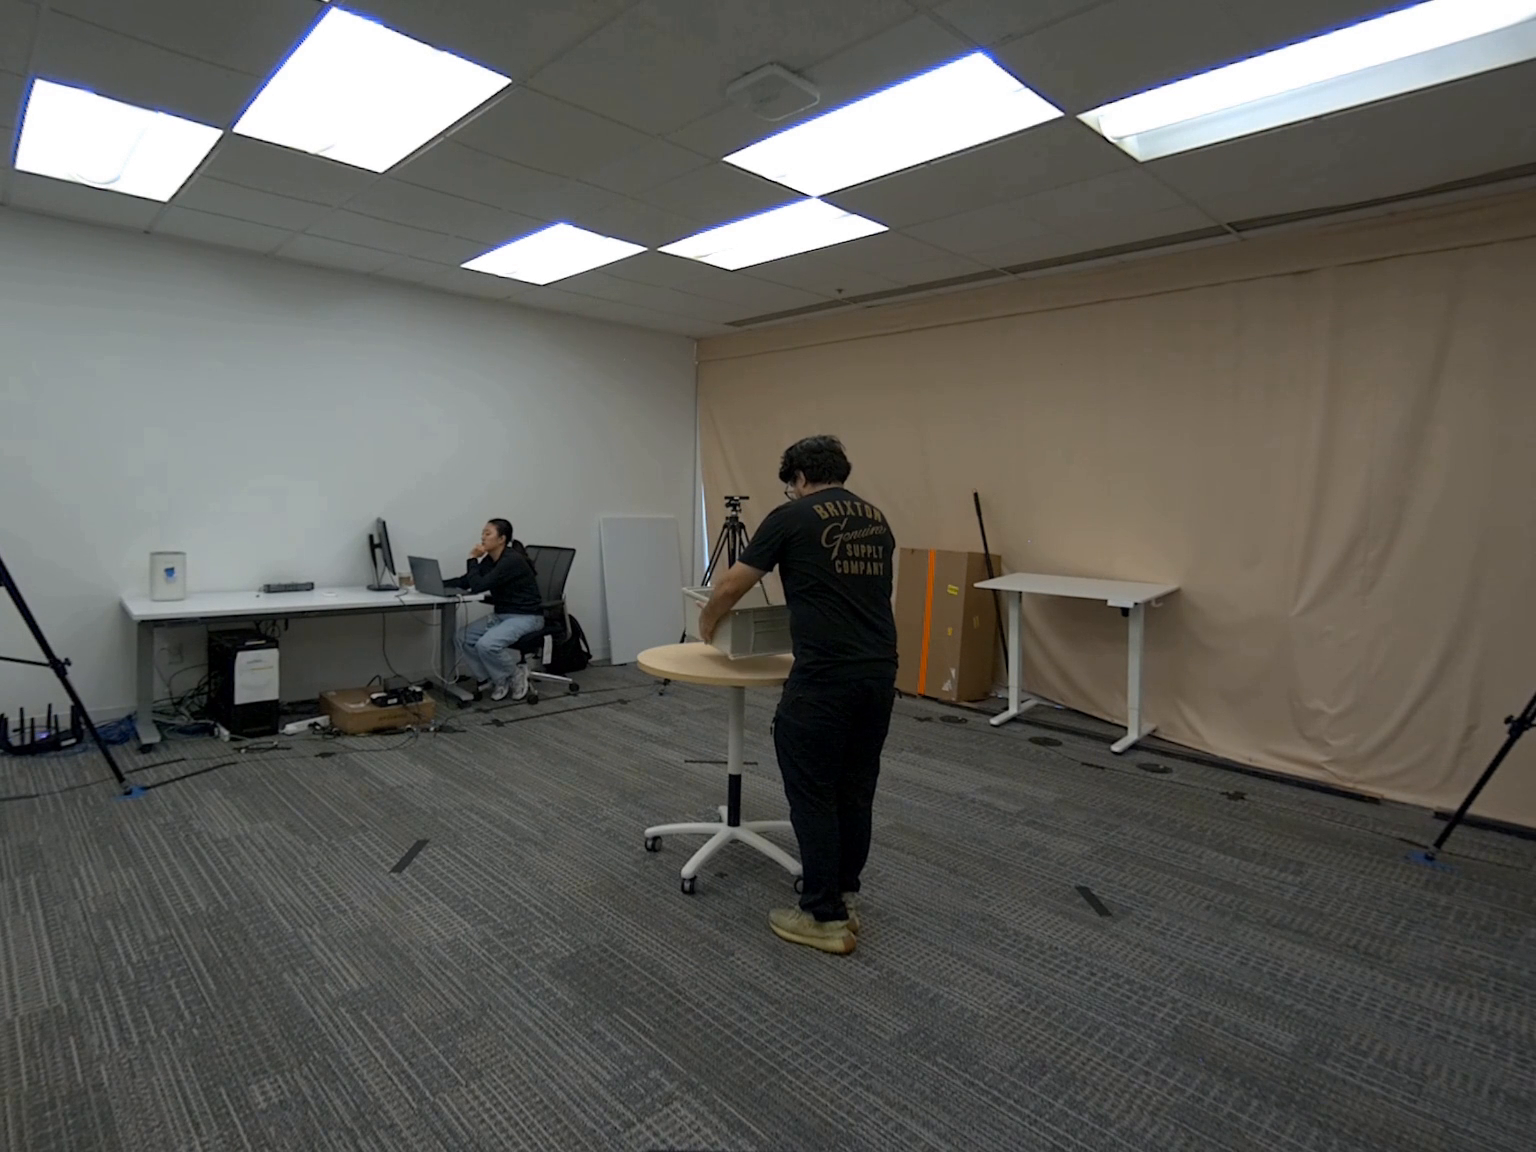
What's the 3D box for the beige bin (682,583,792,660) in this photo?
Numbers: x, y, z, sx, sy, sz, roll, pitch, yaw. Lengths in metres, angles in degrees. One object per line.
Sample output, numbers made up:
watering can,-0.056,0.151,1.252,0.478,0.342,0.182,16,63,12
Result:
beige bin,-0.068,0.157,3.114,0.370,0.188,0.433,-5,11,-27
